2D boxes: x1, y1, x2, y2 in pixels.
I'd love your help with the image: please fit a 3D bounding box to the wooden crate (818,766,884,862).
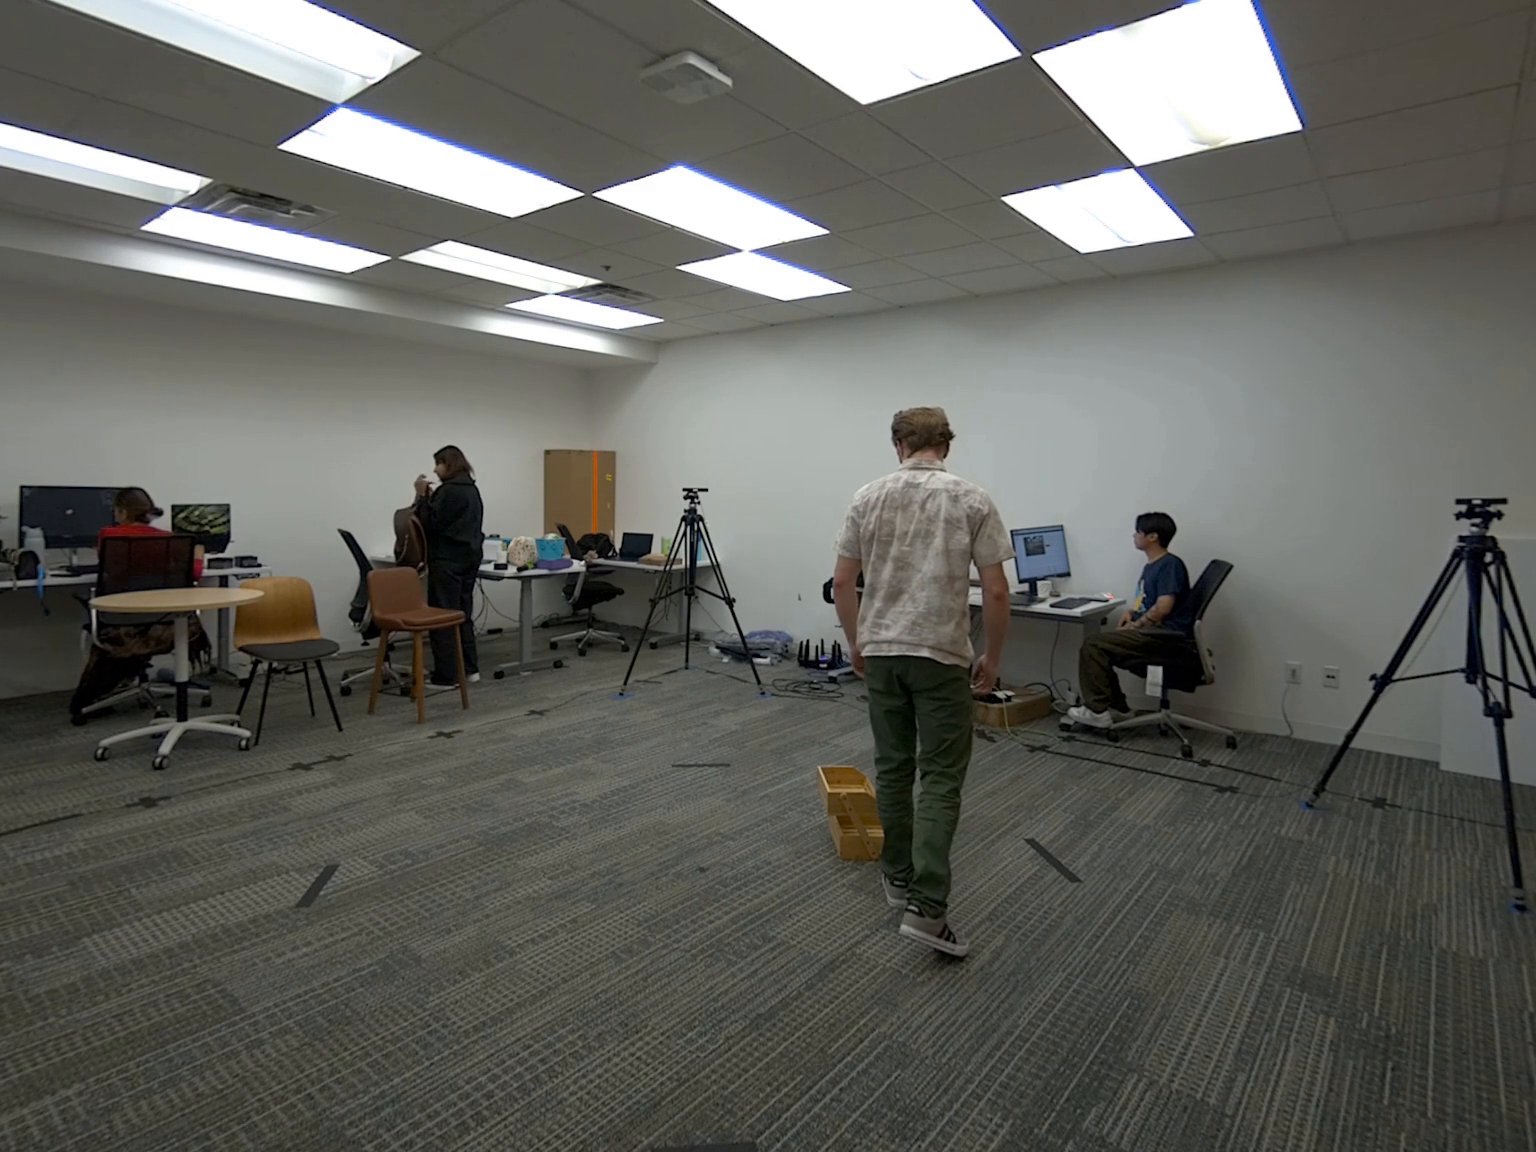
[{"bbox_3d":[0.365,0.926,3.368,0.301,0.272,0.327,1,5,-4],"label":"wooden crate"}]
